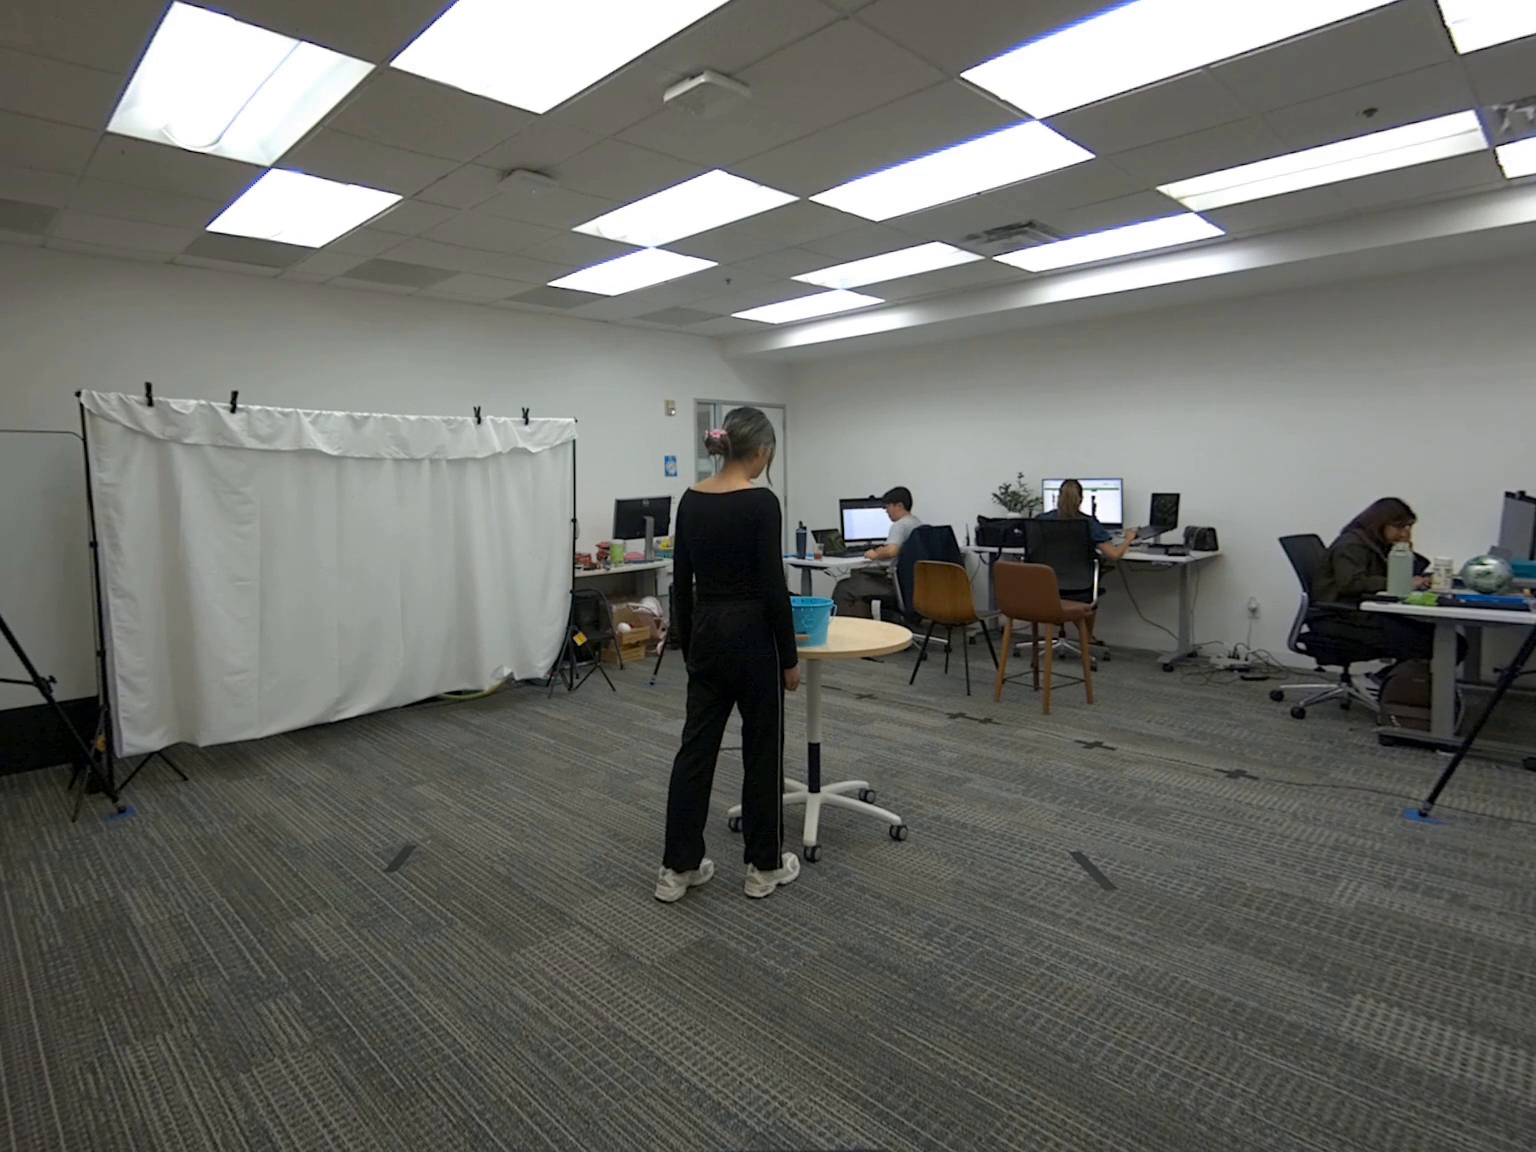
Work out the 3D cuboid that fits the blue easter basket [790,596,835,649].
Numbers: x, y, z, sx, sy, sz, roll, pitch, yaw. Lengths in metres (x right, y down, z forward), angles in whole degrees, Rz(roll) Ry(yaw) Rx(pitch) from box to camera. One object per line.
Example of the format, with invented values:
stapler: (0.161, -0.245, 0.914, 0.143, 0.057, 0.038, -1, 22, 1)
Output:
blue easter basket: (0.132, 0.169, 3.181, 0.243, 0.155, 0.245, 0, 5, -2)
